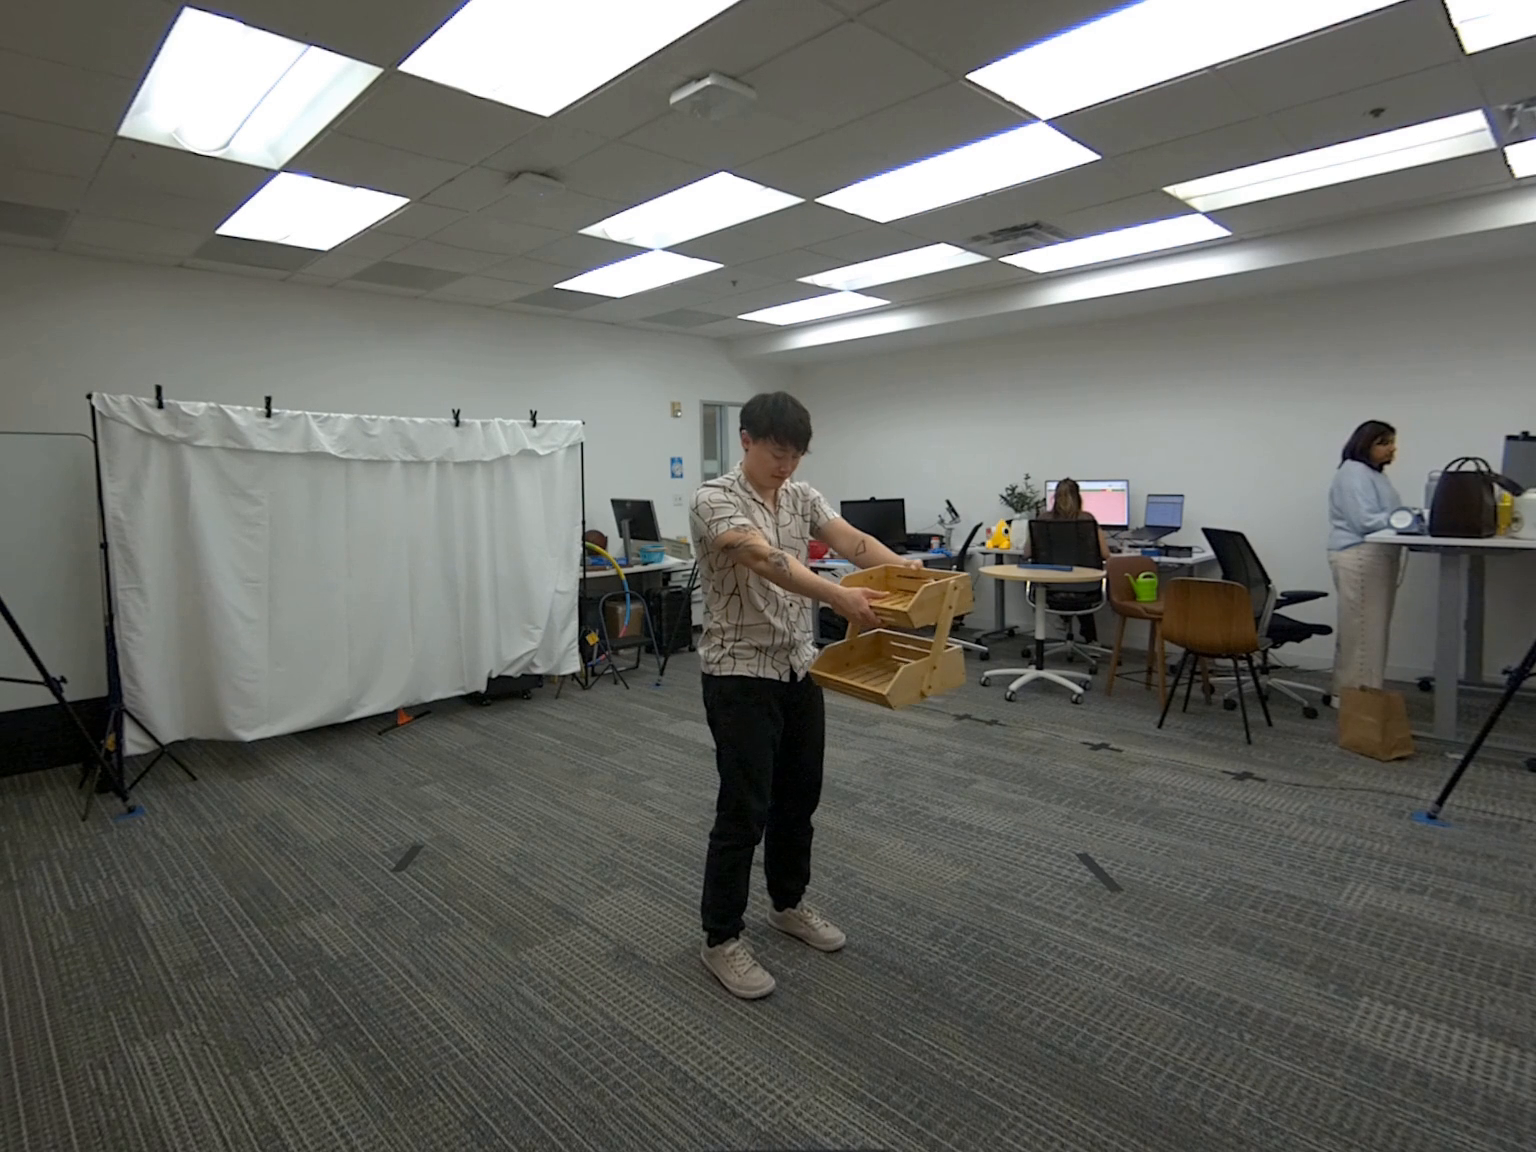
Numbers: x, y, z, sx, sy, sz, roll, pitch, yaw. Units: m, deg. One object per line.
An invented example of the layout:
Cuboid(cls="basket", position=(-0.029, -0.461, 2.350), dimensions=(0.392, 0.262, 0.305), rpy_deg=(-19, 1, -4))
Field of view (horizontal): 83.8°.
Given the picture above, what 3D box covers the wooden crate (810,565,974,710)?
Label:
Cuboid(cls="wooden crate", position=(0.286, 0.135, 2.111), dimensions=(0.296, 0.271, 0.334), rpy_deg=(-12, 10, -30))
